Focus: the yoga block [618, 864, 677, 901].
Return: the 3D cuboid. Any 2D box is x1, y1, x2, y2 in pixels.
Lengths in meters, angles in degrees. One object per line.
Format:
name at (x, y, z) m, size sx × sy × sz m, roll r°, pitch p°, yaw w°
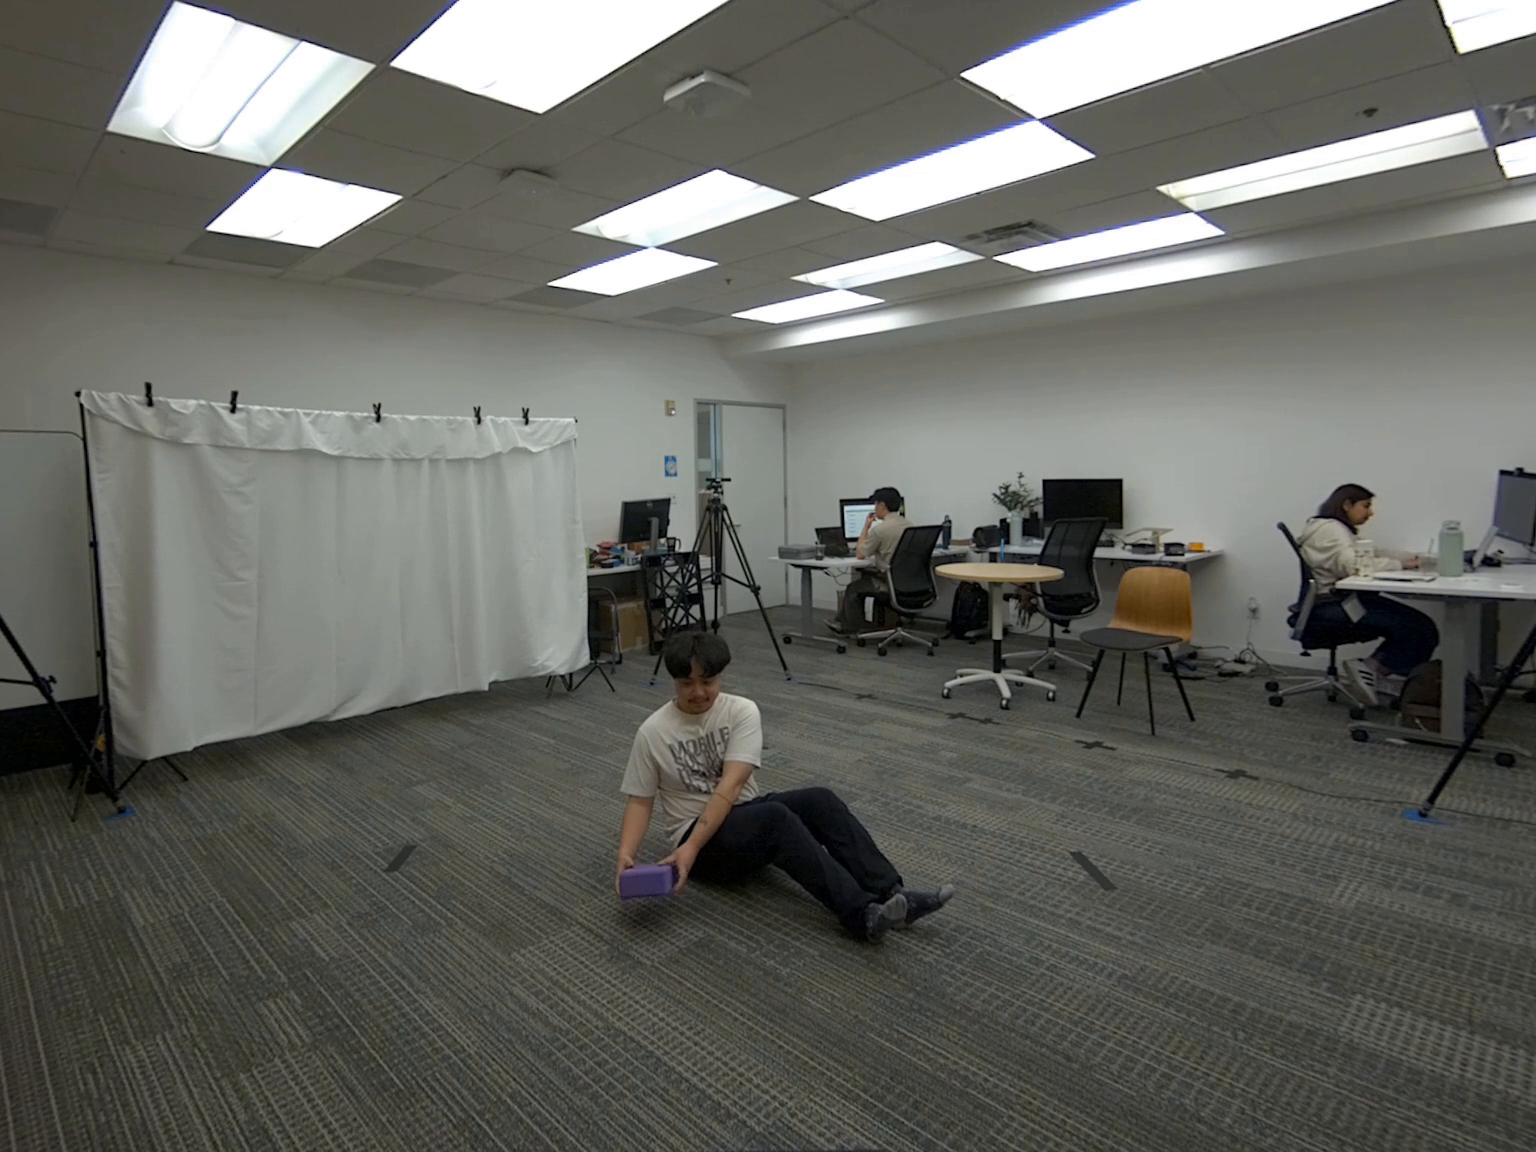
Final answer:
yoga block at (-0.375, 0.969, 2.707) m, size 0.149 × 0.077 × 0.226 m, roll -6°, pitch -10°, yaw 2°
